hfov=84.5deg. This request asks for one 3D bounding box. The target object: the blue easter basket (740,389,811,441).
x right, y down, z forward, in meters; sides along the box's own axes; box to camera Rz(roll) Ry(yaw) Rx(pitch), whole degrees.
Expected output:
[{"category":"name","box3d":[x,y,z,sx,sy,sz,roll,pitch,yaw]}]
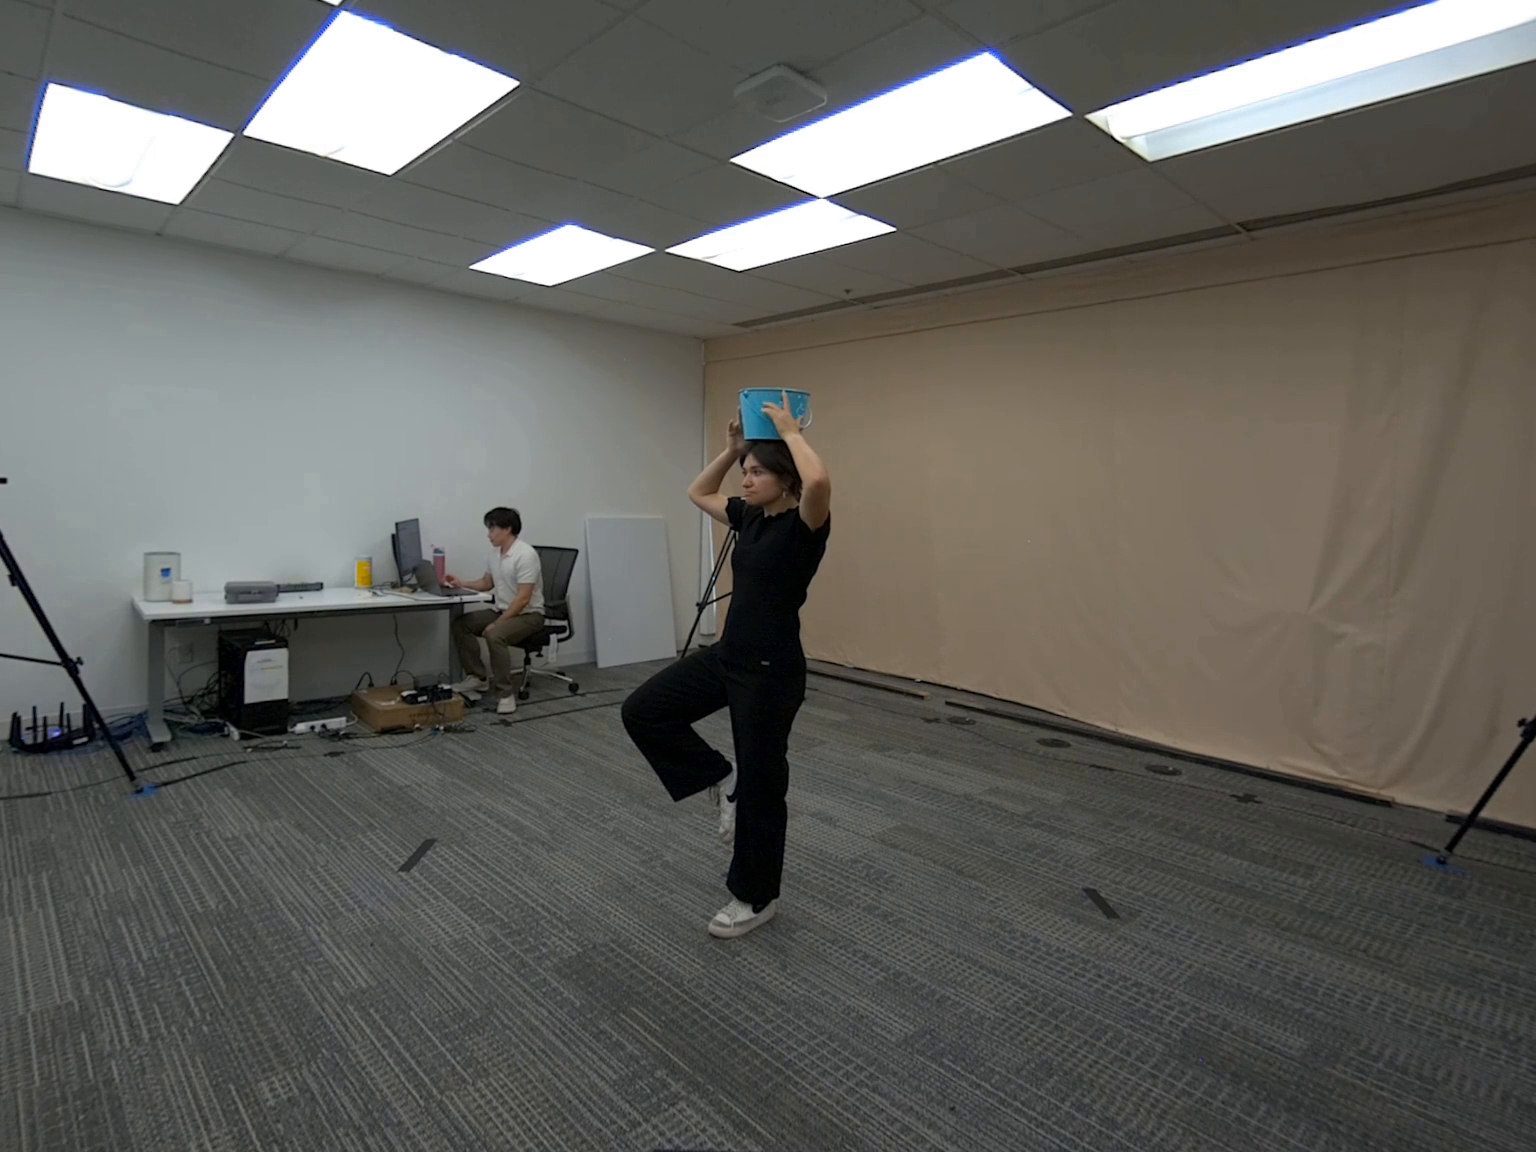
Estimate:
[{"category":"blue easter basket","box3d":[0.010,-0.508,2.676,0.243,0.155,0.244,3,5,-2]}]
